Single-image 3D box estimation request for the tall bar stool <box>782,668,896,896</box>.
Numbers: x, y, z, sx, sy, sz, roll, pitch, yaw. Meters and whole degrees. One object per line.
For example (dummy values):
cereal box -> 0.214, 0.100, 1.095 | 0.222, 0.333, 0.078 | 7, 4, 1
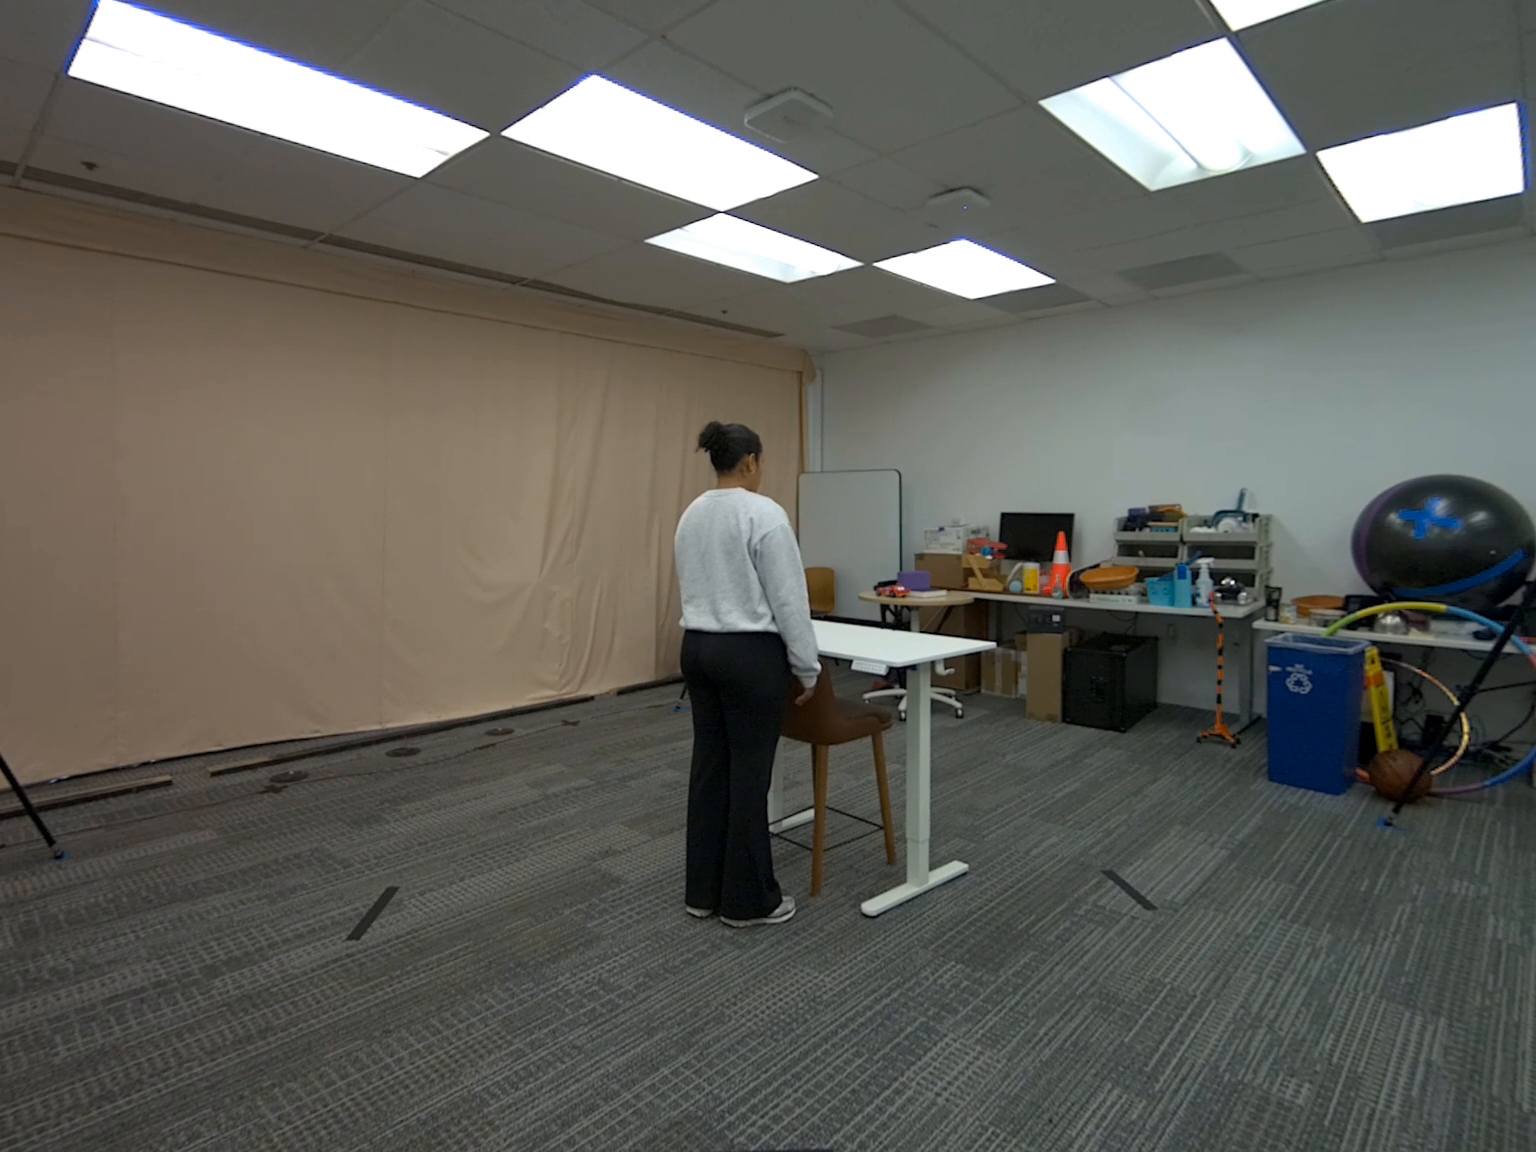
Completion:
tall bar stool -> 0.192, 0.683, 3.253 | 0.454, 0.887, 0.471 | -6, 5, -42
